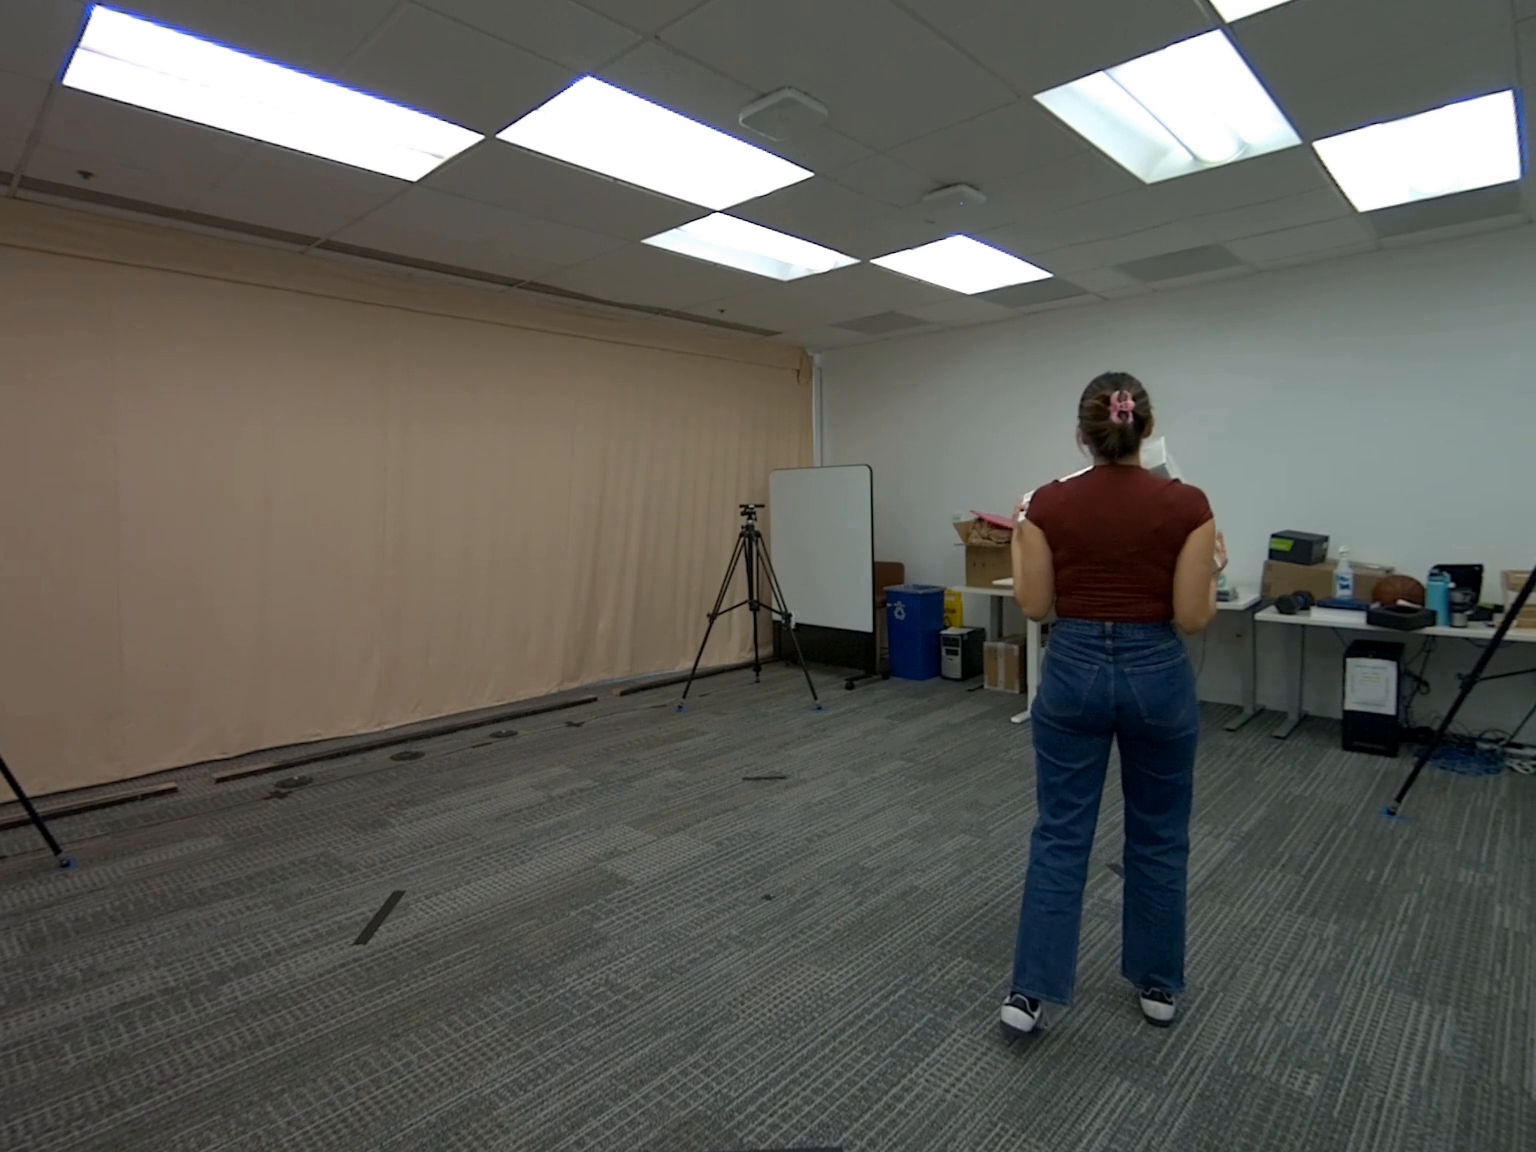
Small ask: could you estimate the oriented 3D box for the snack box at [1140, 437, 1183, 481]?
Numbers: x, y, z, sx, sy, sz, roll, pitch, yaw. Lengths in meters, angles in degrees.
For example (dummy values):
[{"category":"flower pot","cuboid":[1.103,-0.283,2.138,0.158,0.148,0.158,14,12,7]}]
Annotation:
[{"category":"snack box","cuboid":[0.980,-0.132,2.378,0.413,0.335,0.204,-25,16,33]}]
